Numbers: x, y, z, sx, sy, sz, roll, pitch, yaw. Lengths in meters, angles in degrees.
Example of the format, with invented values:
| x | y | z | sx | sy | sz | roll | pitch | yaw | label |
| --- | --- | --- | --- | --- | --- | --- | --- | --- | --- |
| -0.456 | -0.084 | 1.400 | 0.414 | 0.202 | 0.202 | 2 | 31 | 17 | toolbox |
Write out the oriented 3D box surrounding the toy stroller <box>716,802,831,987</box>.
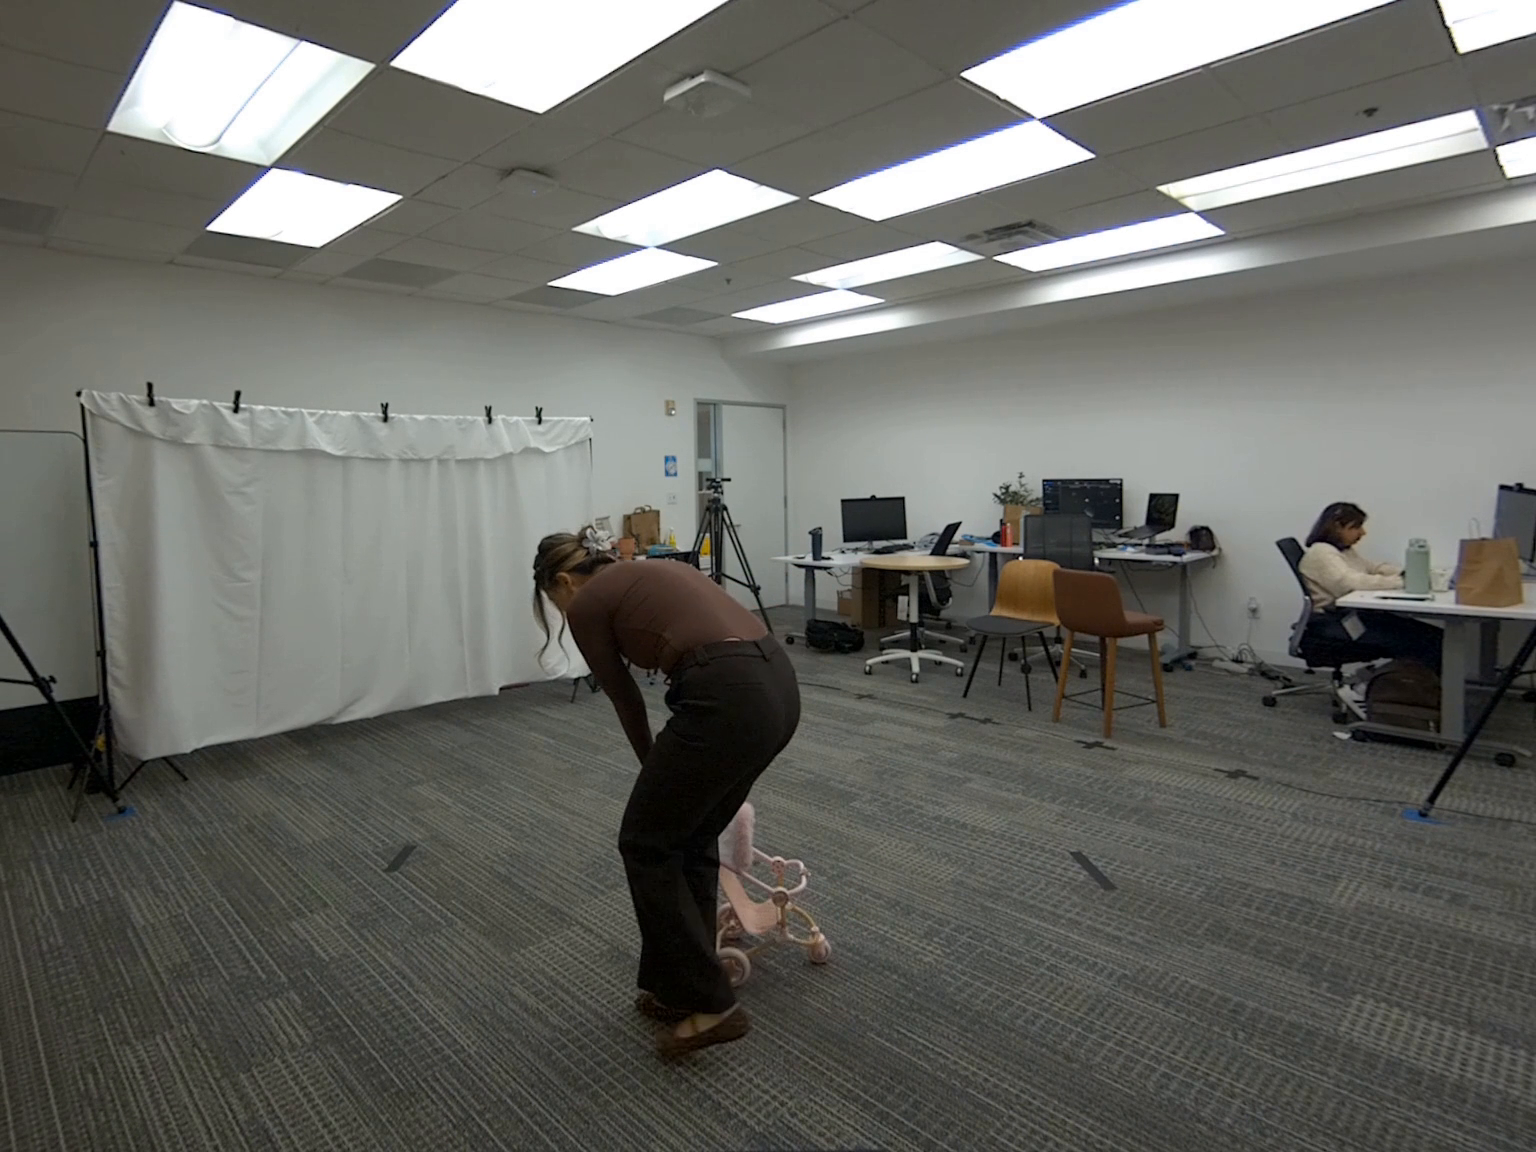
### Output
| x | y | z | sx | sy | sz | roll | pitch | yaw | label |
| --- | --- | --- | --- | --- | --- | --- | --- | --- | --- |
| -0.038 | 0.891 | 2.459 | 0.343 | 0.533 | 0.281 | -17 | 3 | 7 | toy stroller |
